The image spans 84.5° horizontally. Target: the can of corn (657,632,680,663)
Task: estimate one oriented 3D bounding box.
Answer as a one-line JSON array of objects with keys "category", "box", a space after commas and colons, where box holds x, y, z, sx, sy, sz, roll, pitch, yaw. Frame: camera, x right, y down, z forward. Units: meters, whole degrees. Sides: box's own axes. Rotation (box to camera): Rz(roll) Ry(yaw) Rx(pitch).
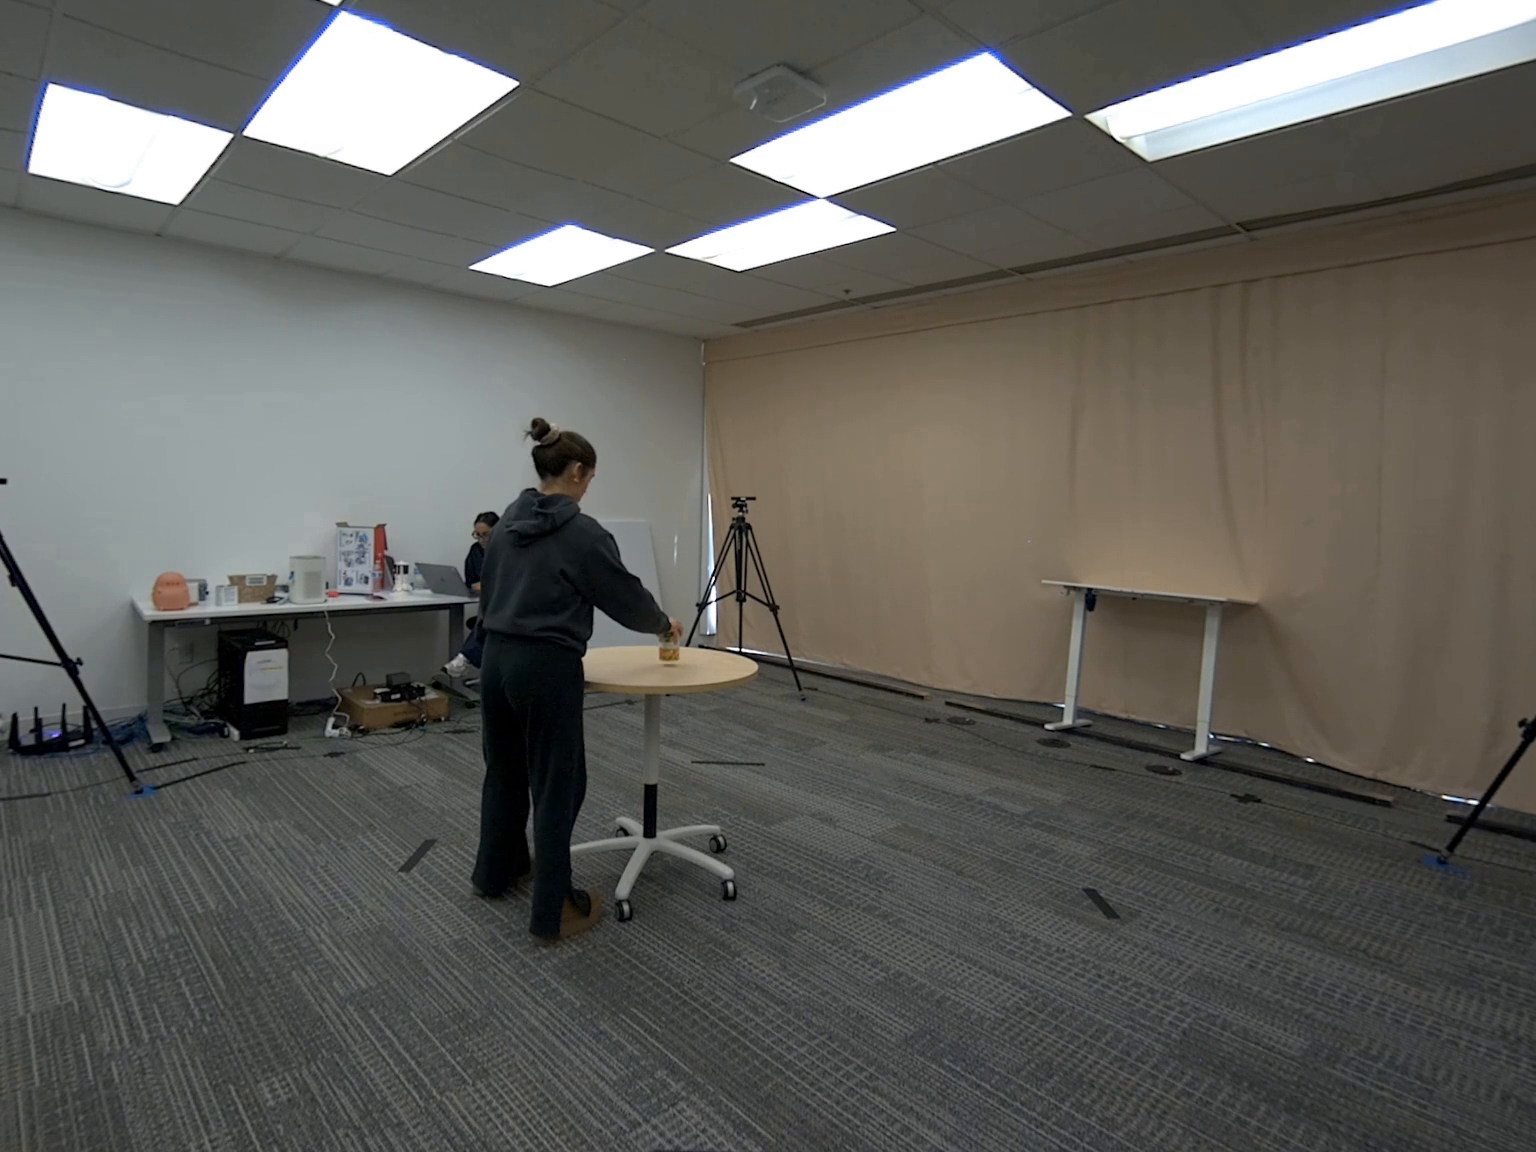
[{"category": "can of corn", "box": [-0.378, 0.247, 3.034, 0.074, 0.110, 0.074, 2, 6, -2]}]
